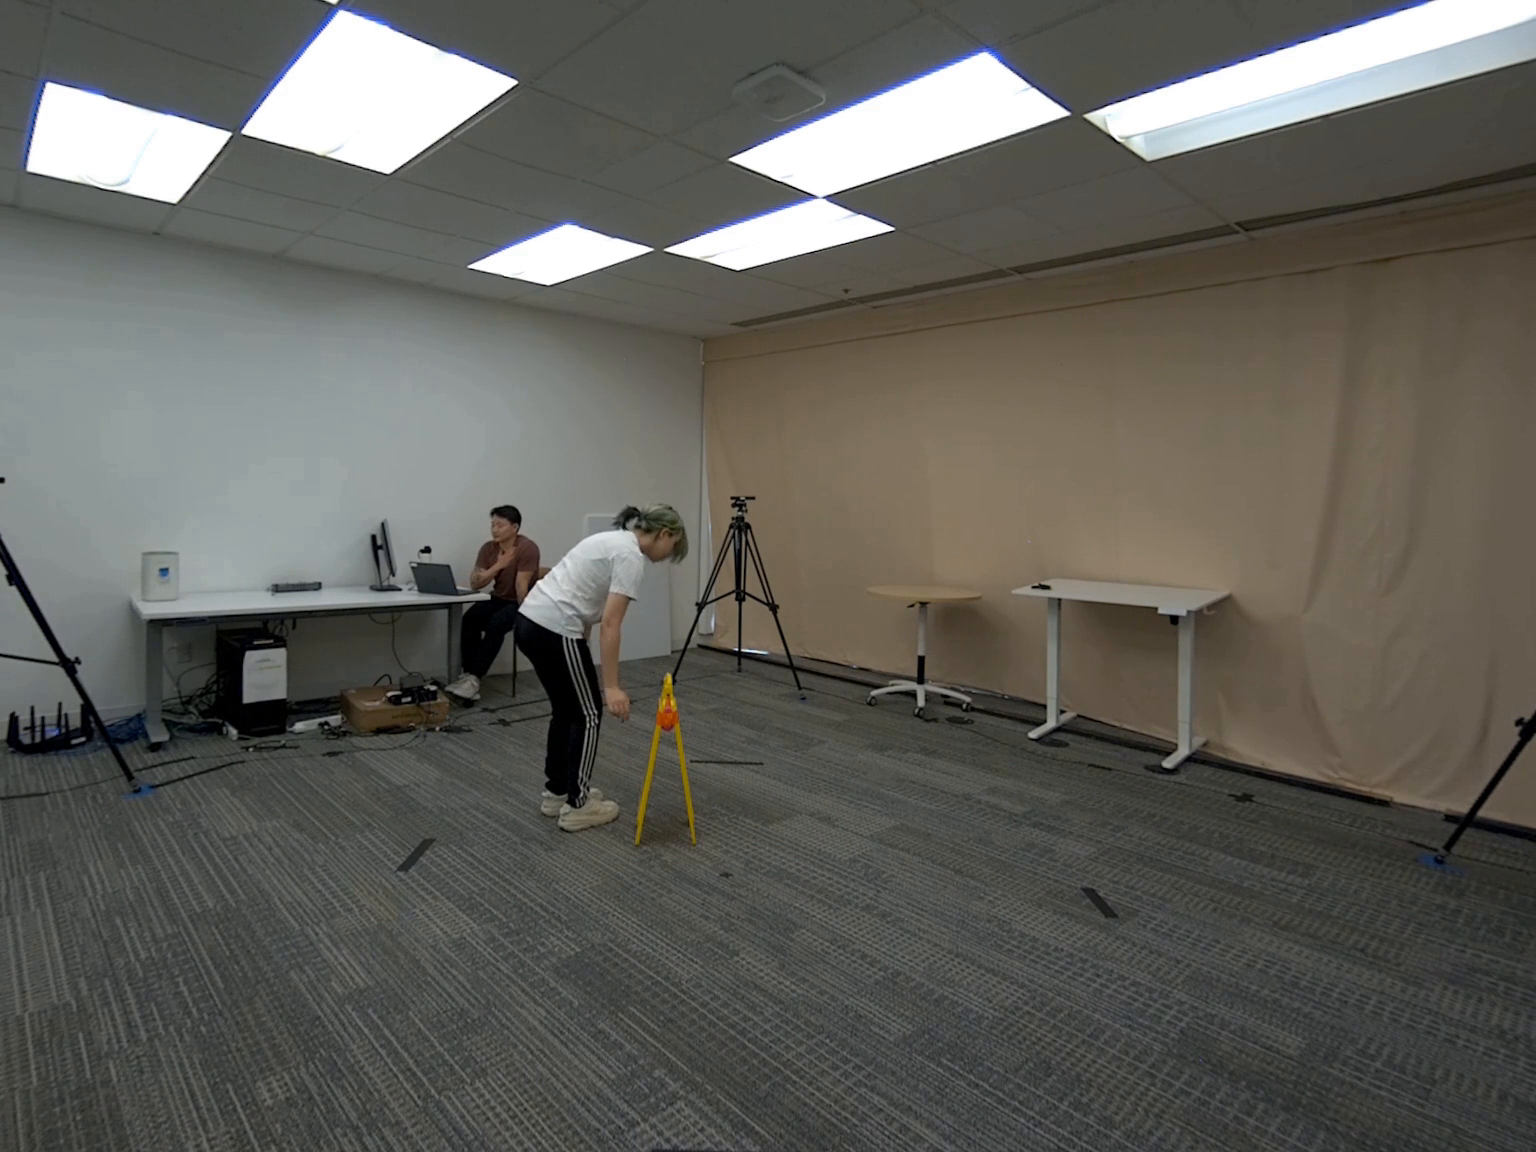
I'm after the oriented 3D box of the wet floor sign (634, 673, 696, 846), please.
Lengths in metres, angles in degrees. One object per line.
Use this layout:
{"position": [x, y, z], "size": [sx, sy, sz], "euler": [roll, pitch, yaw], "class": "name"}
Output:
{"position": [-0.427, 0.743, 3.480], "size": [0.288, 0.645, 0.284], "euler": [1, 3, -6], "class": "wet floor sign"}
